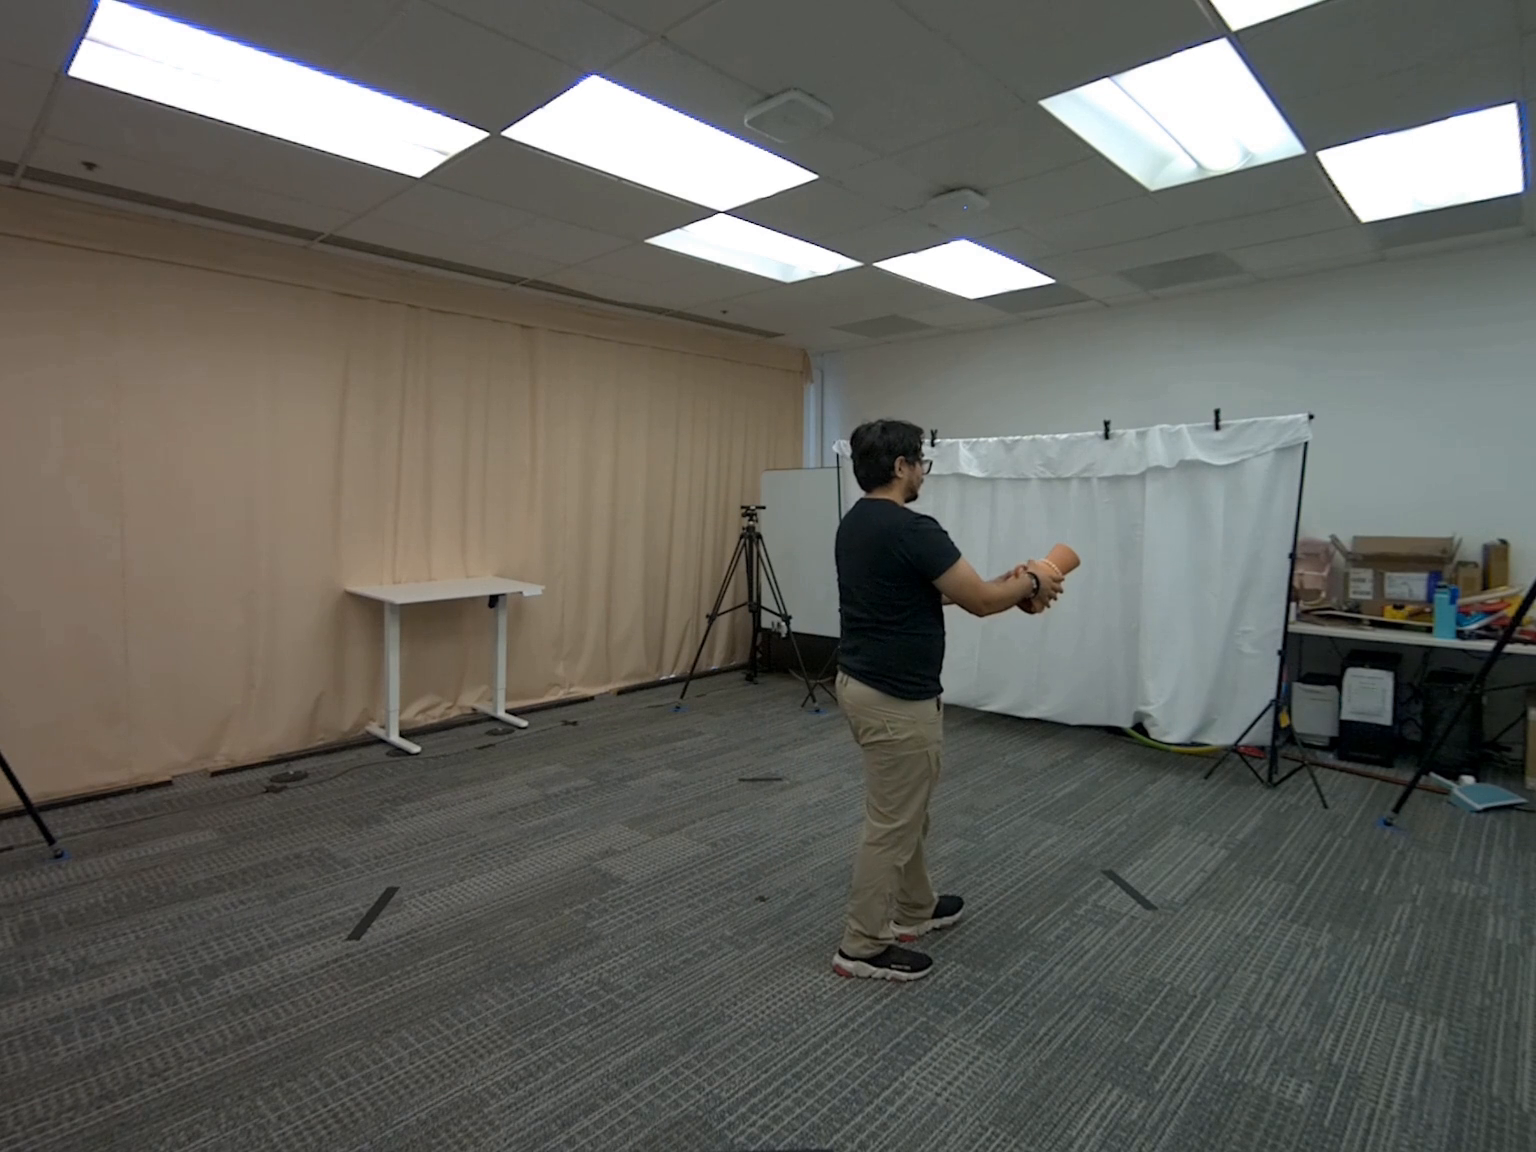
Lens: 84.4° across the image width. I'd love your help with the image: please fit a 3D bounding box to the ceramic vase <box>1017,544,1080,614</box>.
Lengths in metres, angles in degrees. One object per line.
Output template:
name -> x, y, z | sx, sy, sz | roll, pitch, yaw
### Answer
ceramic vase -> 0.892, 0.003, 2.633 | 0.219, 0.138, 0.155 | -39, -25, -6
